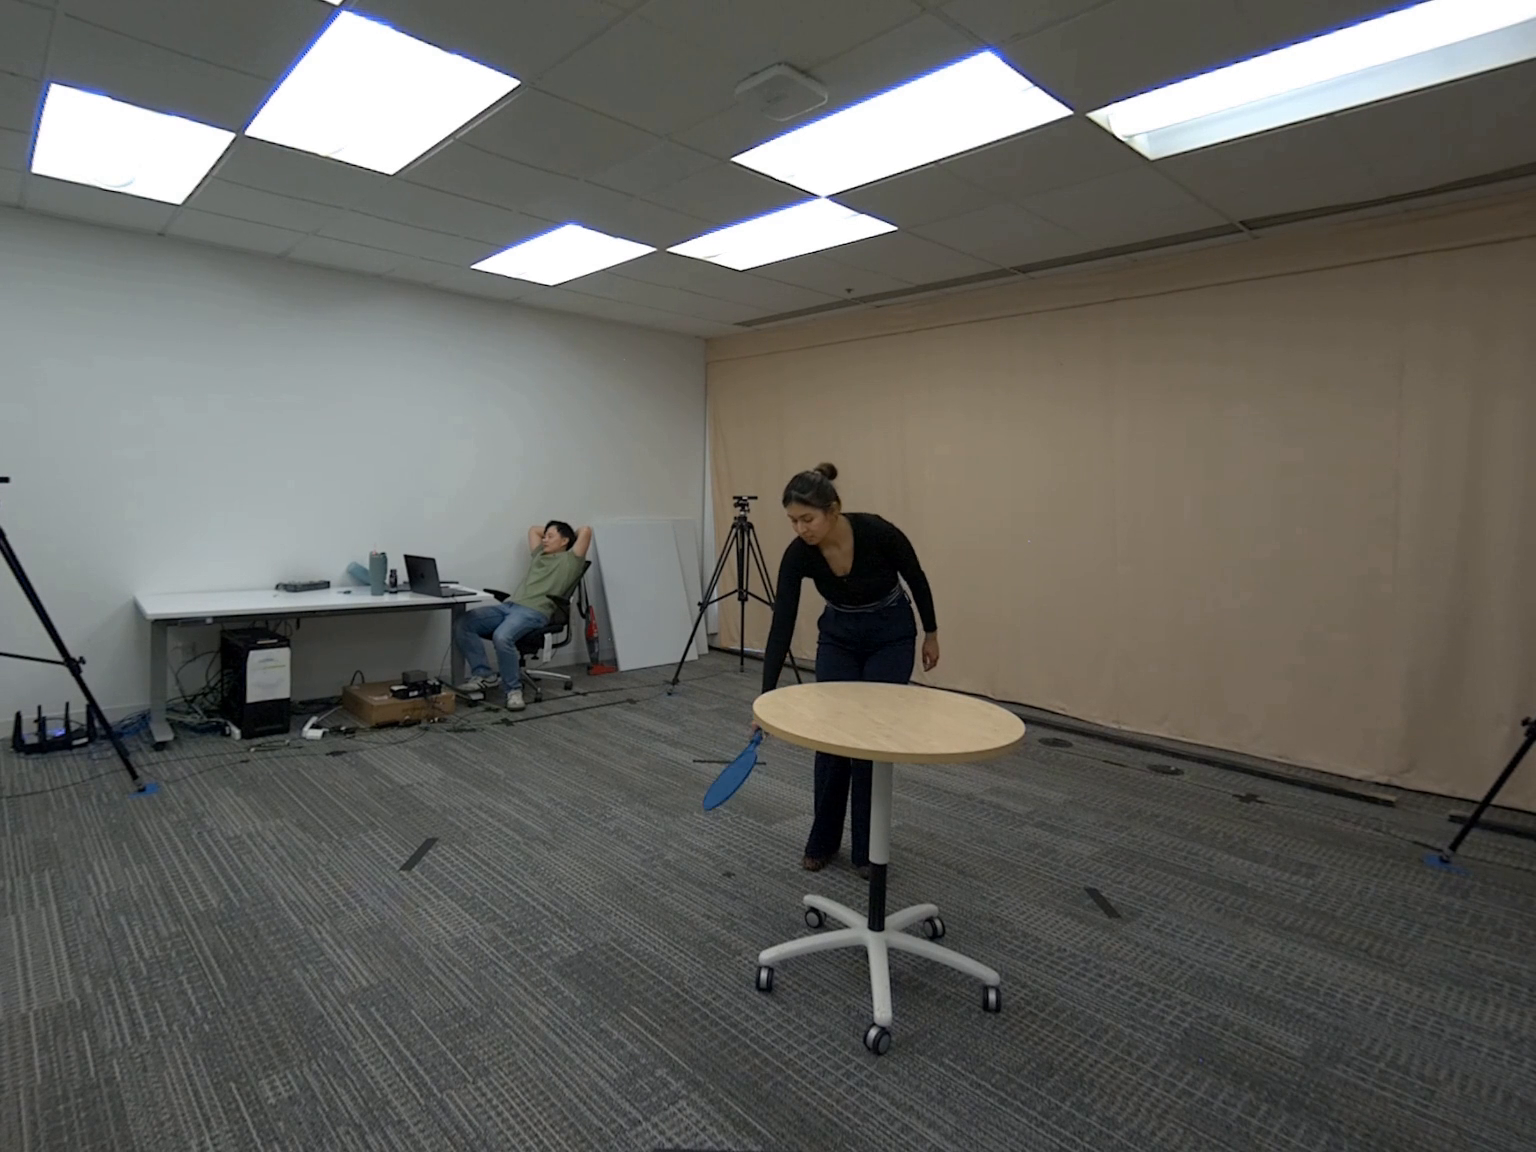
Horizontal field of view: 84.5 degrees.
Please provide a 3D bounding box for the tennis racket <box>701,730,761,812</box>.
[{"bbox_3d":[-0.095,0.620,2.818,0.215,0.031,0.434,-35,11,39],"label":"tennis racket"}]
